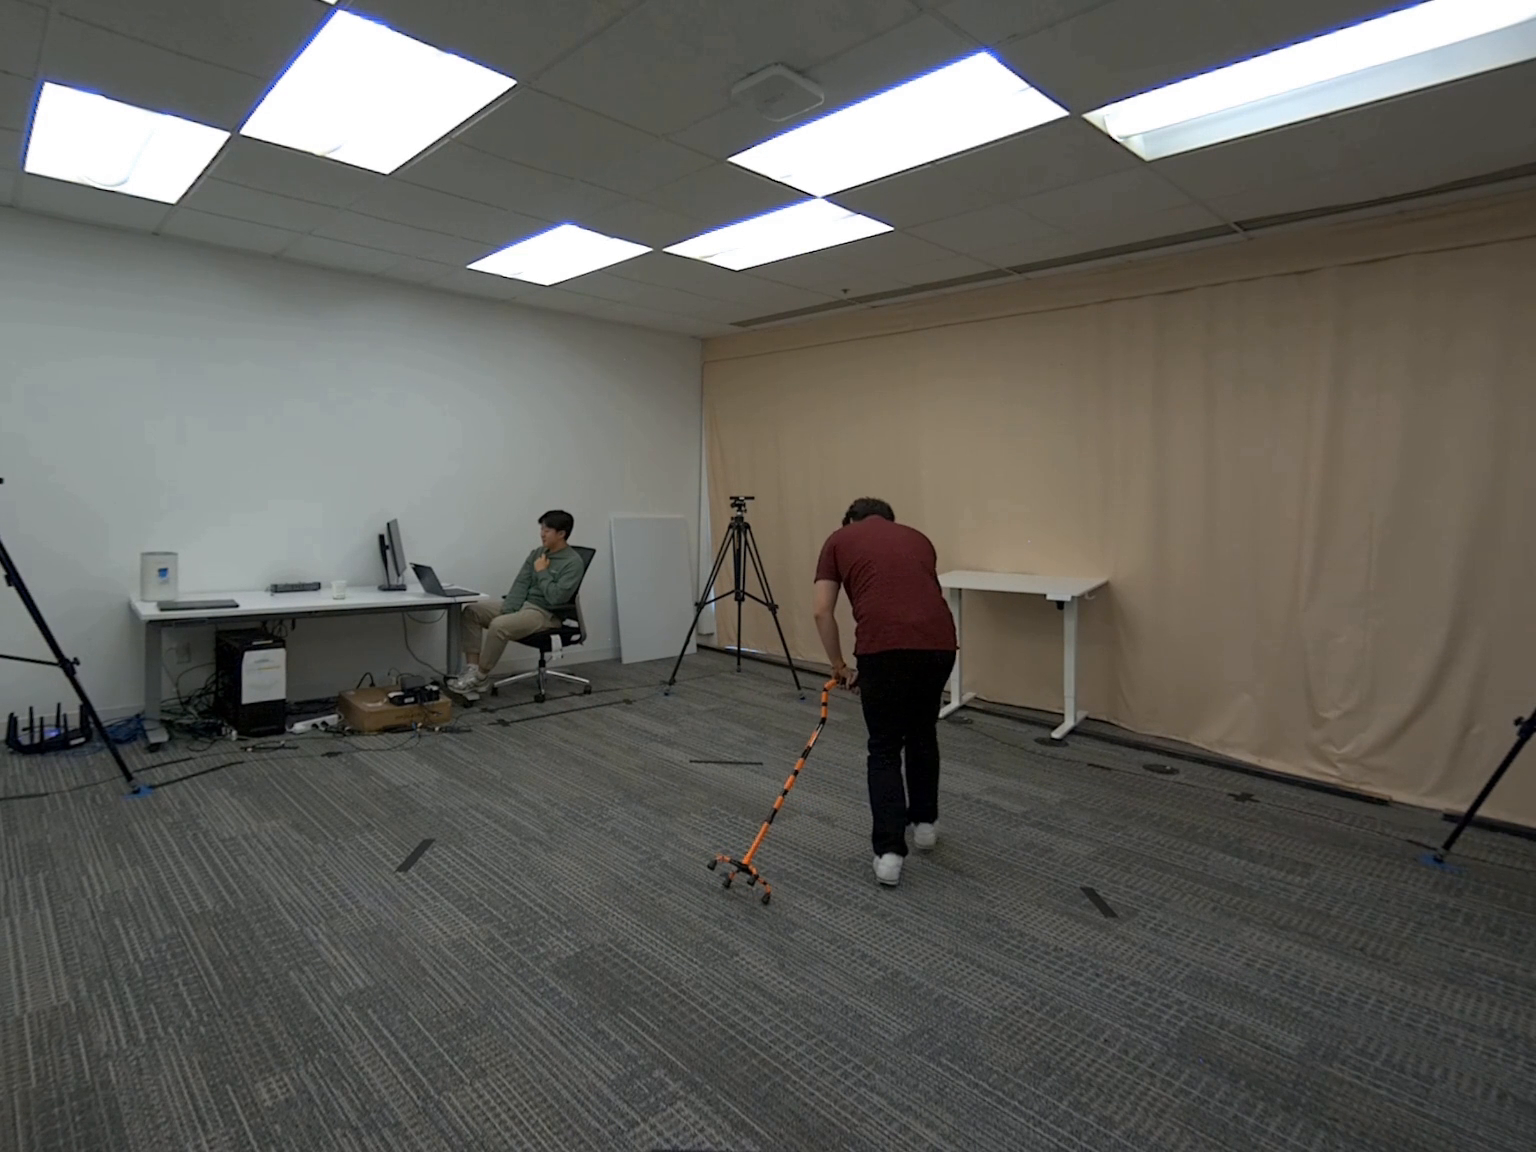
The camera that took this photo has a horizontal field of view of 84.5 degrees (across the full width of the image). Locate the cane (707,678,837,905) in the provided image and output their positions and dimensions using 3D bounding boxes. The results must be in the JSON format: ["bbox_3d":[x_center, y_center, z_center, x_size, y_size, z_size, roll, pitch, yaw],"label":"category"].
[{"bbox_3d":[0.095,0.751,3.151,0.211,0.147,0.912,4,47,36],"label":"cane"}]
